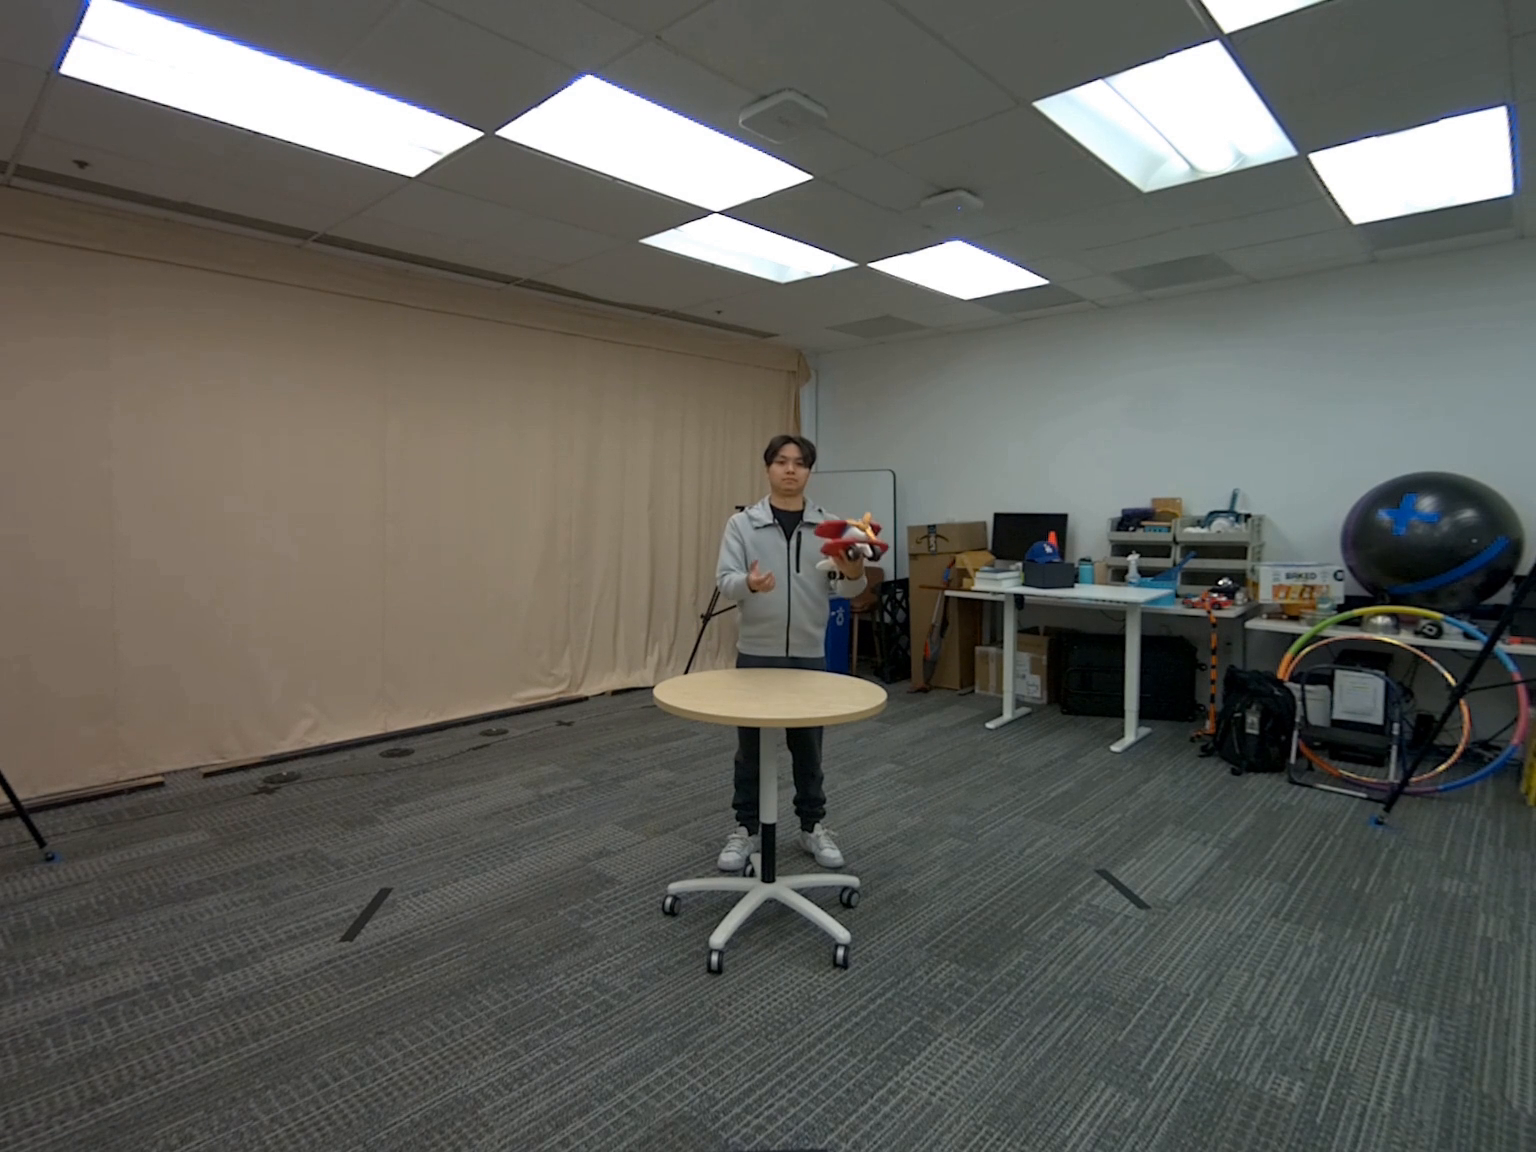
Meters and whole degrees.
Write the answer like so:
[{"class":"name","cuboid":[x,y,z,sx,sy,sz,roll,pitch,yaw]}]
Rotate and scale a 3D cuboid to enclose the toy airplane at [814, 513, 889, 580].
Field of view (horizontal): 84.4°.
[{"class":"toy airplane","cuboid":[0.251,-0.090,2.868,0.264,0.159,0.242,-22,-22,31]}]
